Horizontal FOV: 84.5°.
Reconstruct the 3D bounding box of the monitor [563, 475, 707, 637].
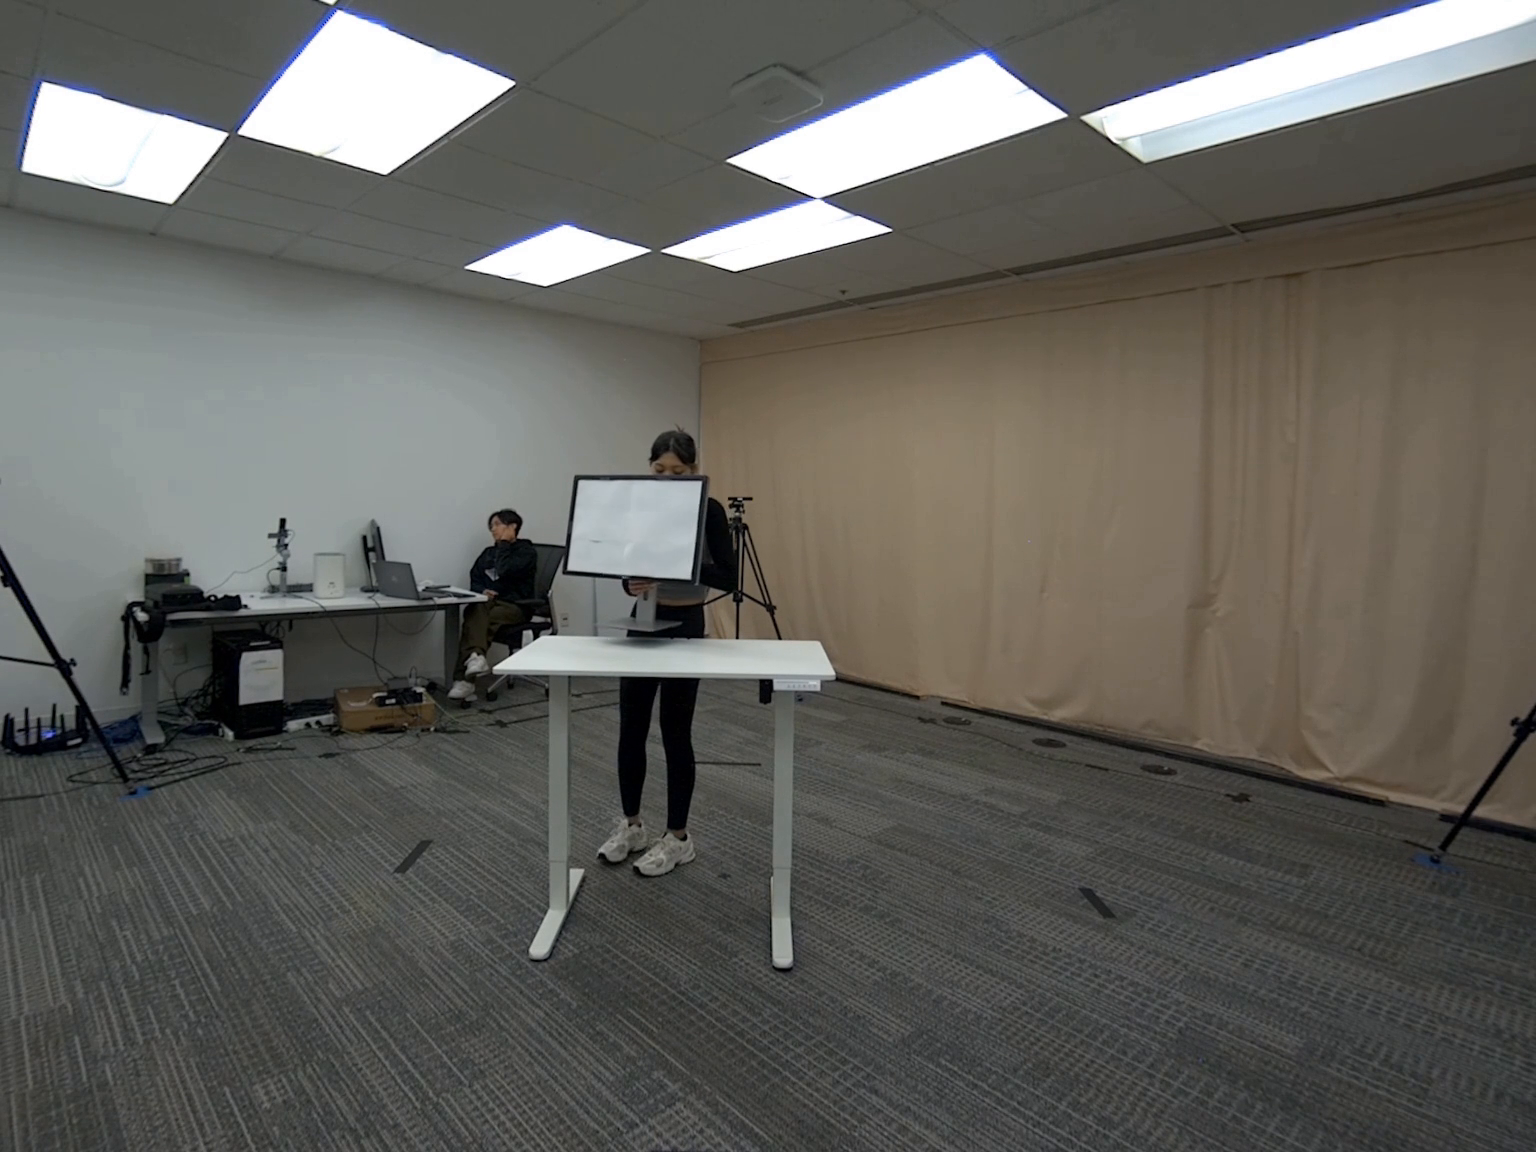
[{"bbox_3d":[-0.457,-0.079,2.928,0.550,0.520,0.184,4,6,28],"label":"monitor"}]
